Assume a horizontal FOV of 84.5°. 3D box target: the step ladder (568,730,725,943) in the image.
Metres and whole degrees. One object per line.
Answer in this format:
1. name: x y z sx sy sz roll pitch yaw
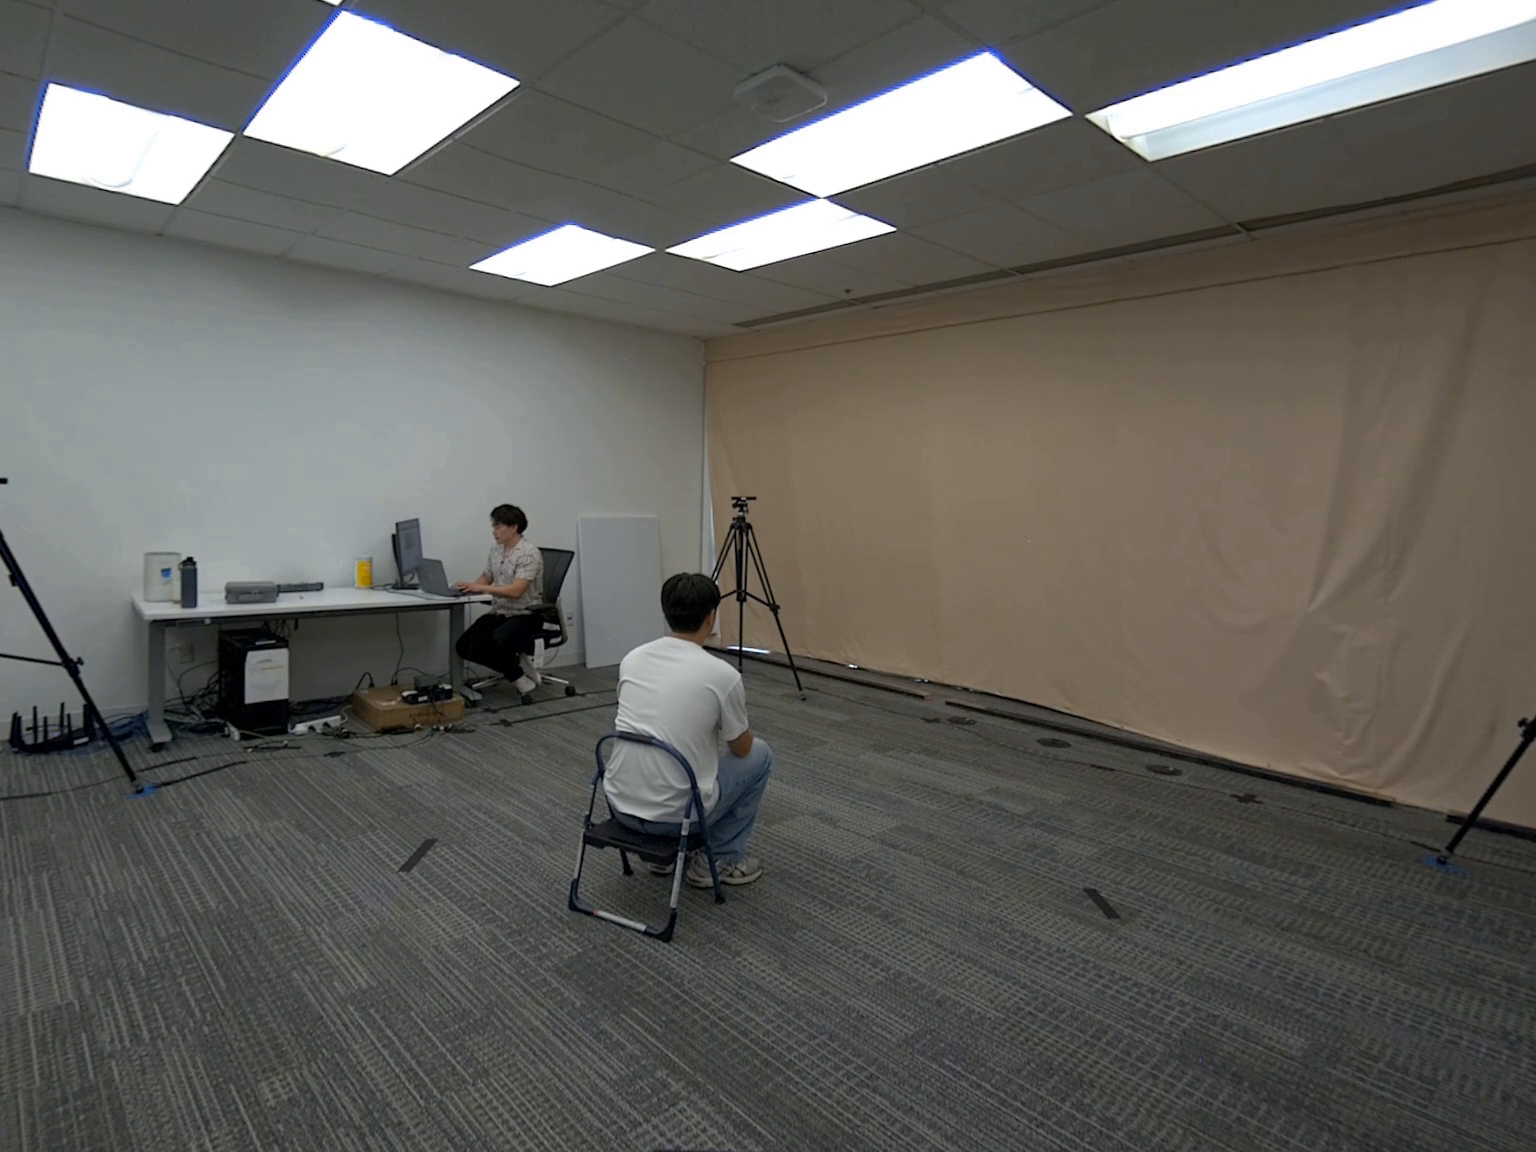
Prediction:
1. step ladder: -0.419 0.825 2.849 0.440 0.604 0.343 2 4 29
